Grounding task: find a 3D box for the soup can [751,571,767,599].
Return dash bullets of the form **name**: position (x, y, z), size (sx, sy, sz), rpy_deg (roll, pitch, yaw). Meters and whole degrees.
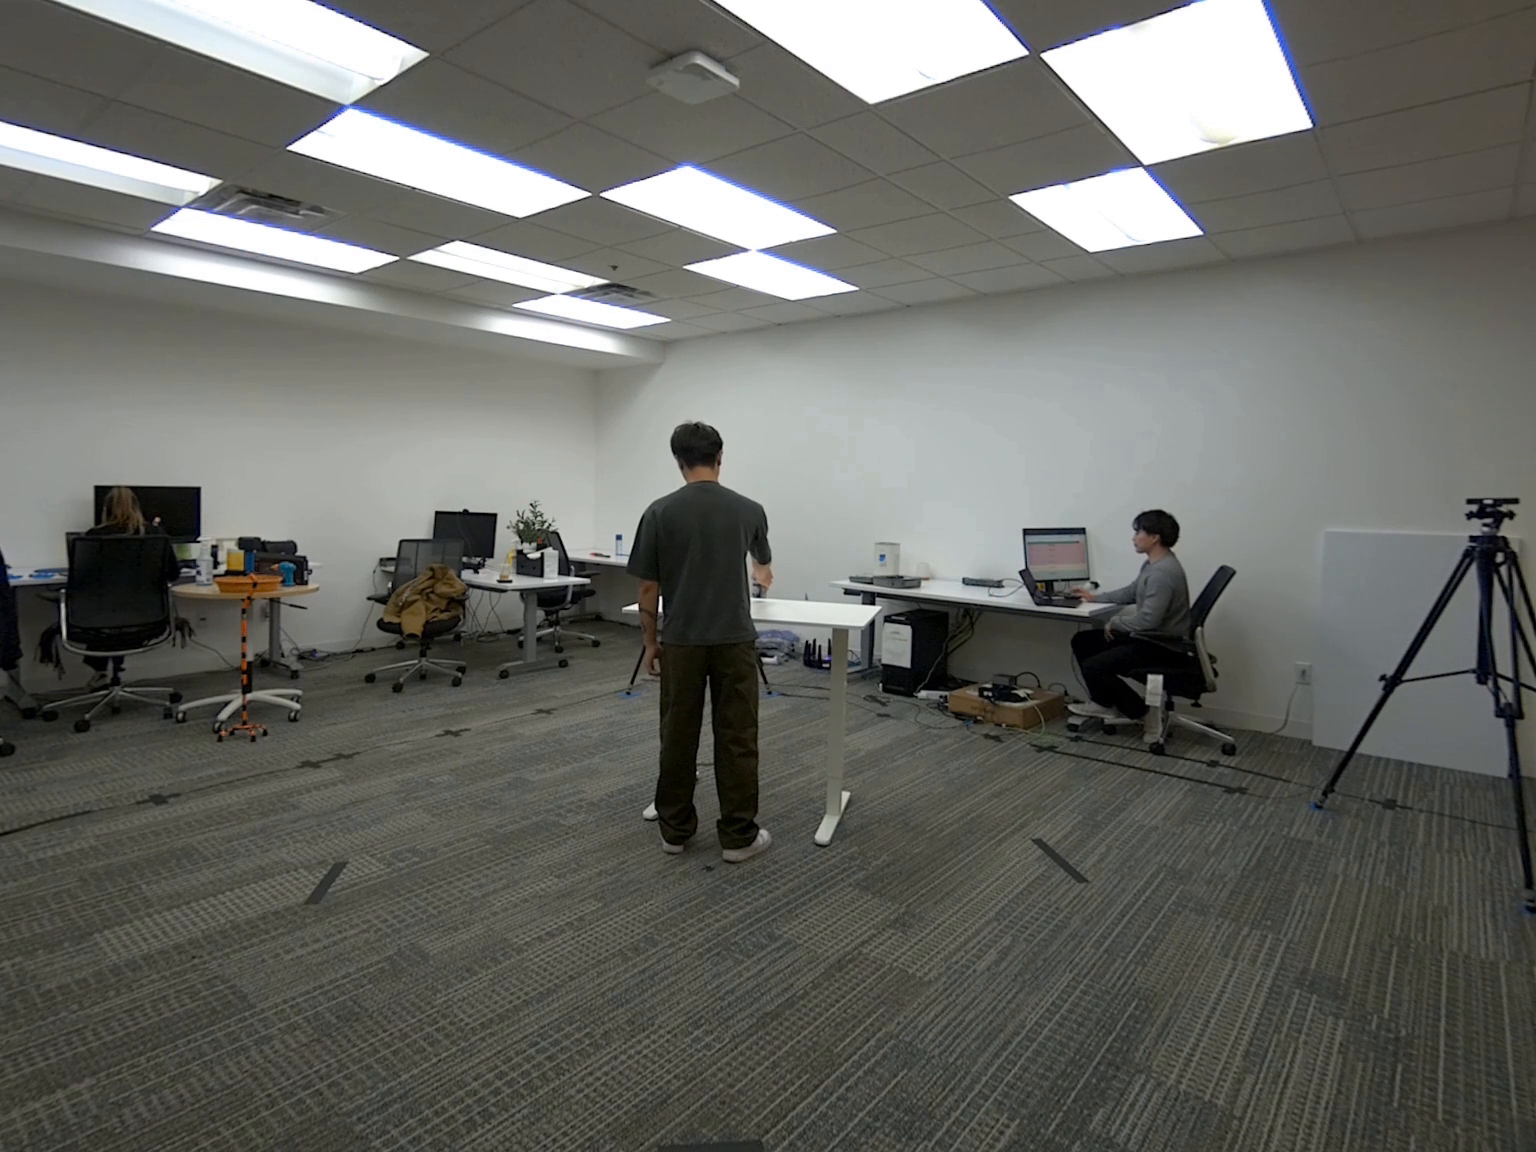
- **soup can**: position (-0.047, 0.036, 3.858), size (0.067, 0.122, 0.067), rpy_deg (0, -1, -2)
